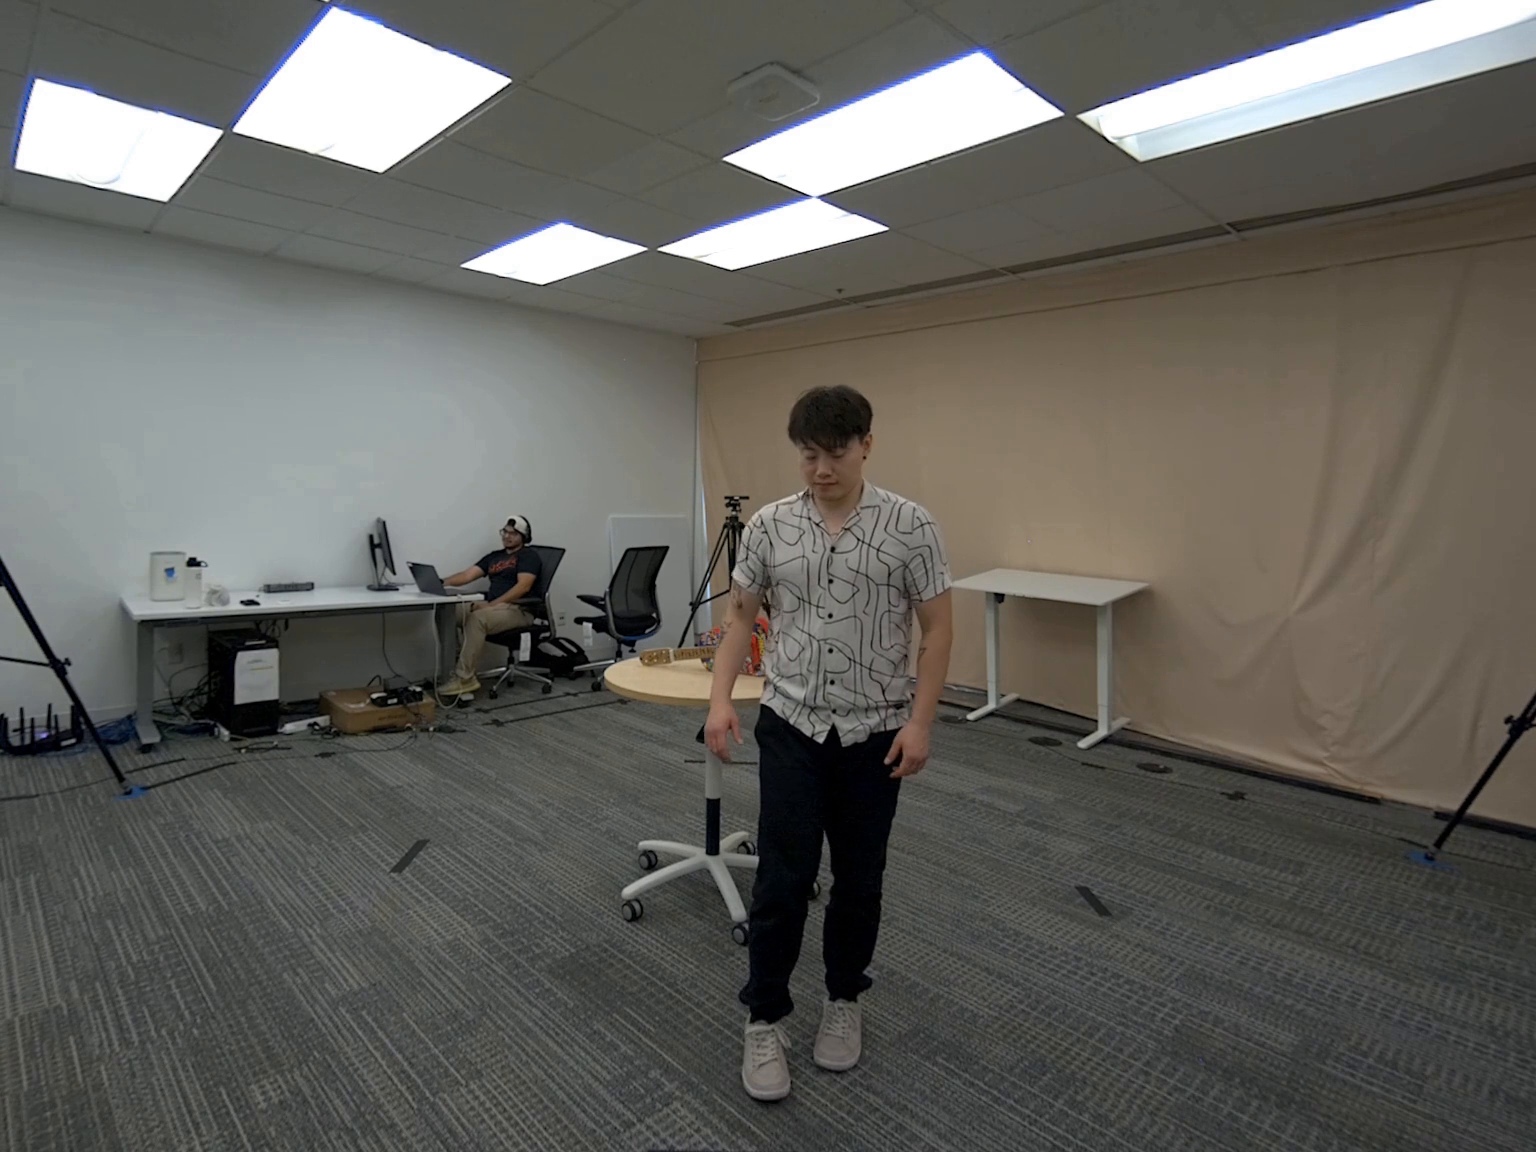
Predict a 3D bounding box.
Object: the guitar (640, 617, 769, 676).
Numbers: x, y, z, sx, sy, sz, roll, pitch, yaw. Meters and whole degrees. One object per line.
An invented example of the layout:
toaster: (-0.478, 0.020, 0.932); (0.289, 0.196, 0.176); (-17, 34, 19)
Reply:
guitar: (-0.223, 0.240, 2.953); (0.505, 0.192, 0.070); (2, 4, 17)
